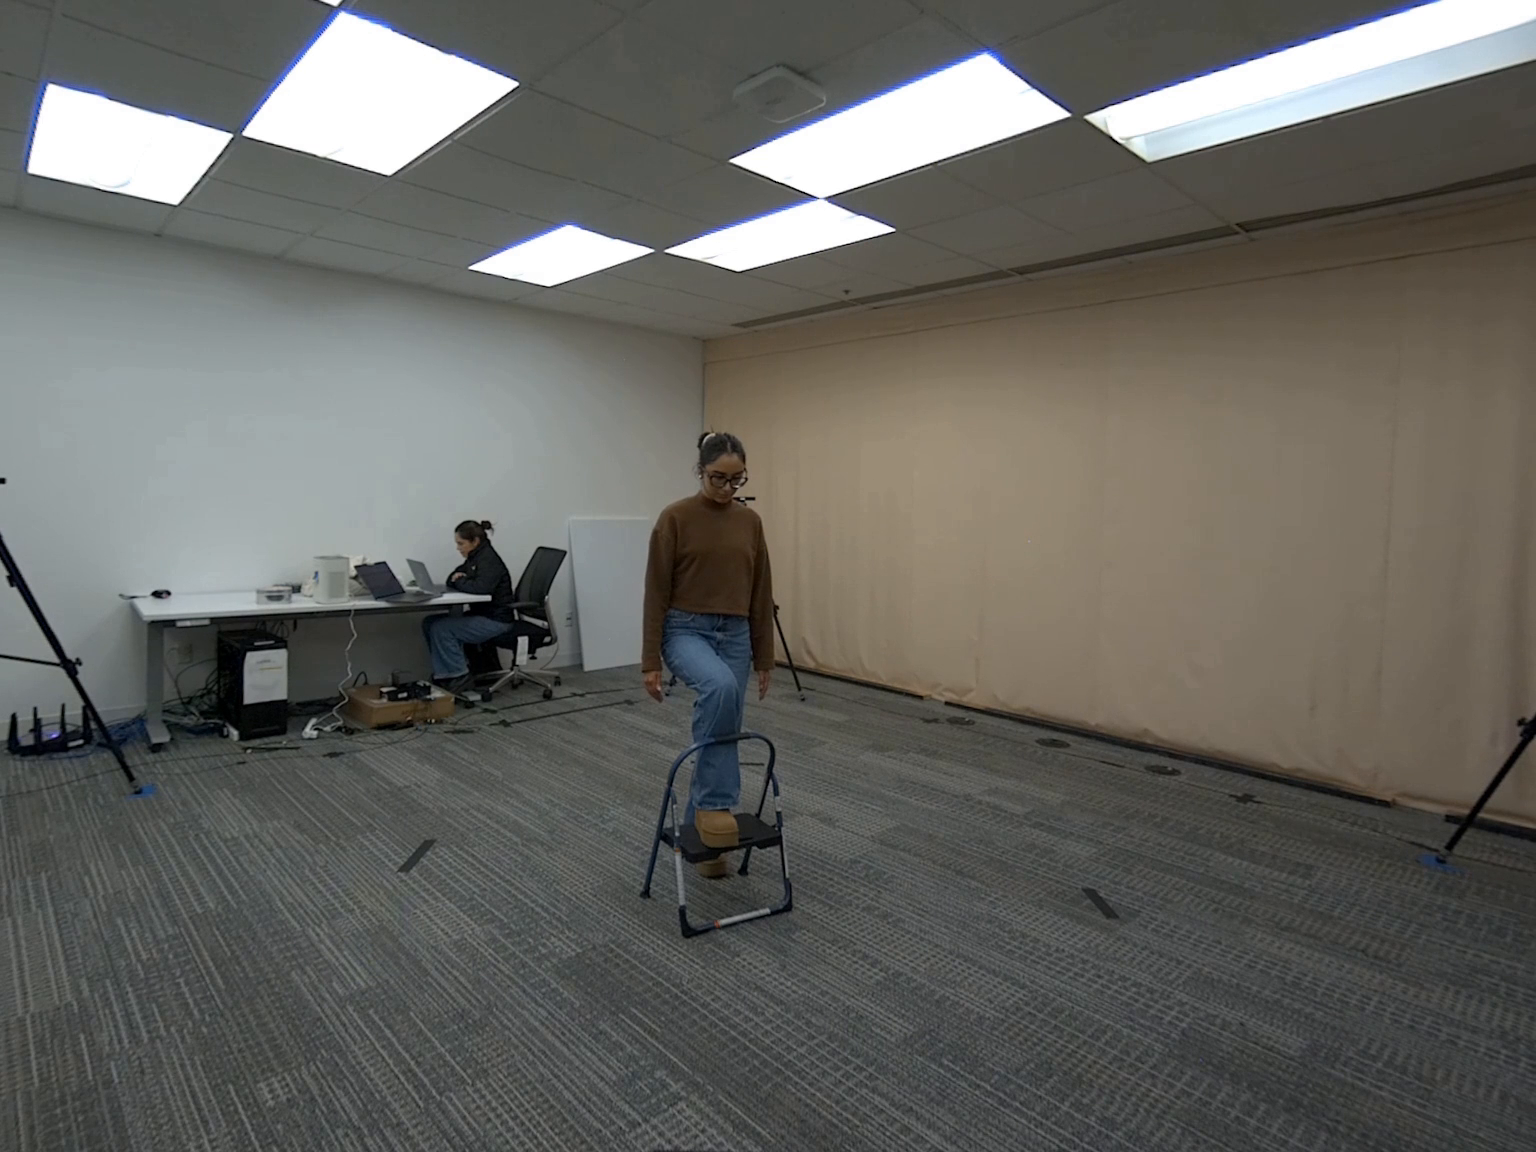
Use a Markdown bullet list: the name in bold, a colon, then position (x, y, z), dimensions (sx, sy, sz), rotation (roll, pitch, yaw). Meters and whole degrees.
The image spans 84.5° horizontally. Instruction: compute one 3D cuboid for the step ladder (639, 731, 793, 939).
- **step ladder**: position (-0.176, 0.824, 2.878), dimensions (0.422, 0.604, 0.357), rotation (-1, 4, -32)
